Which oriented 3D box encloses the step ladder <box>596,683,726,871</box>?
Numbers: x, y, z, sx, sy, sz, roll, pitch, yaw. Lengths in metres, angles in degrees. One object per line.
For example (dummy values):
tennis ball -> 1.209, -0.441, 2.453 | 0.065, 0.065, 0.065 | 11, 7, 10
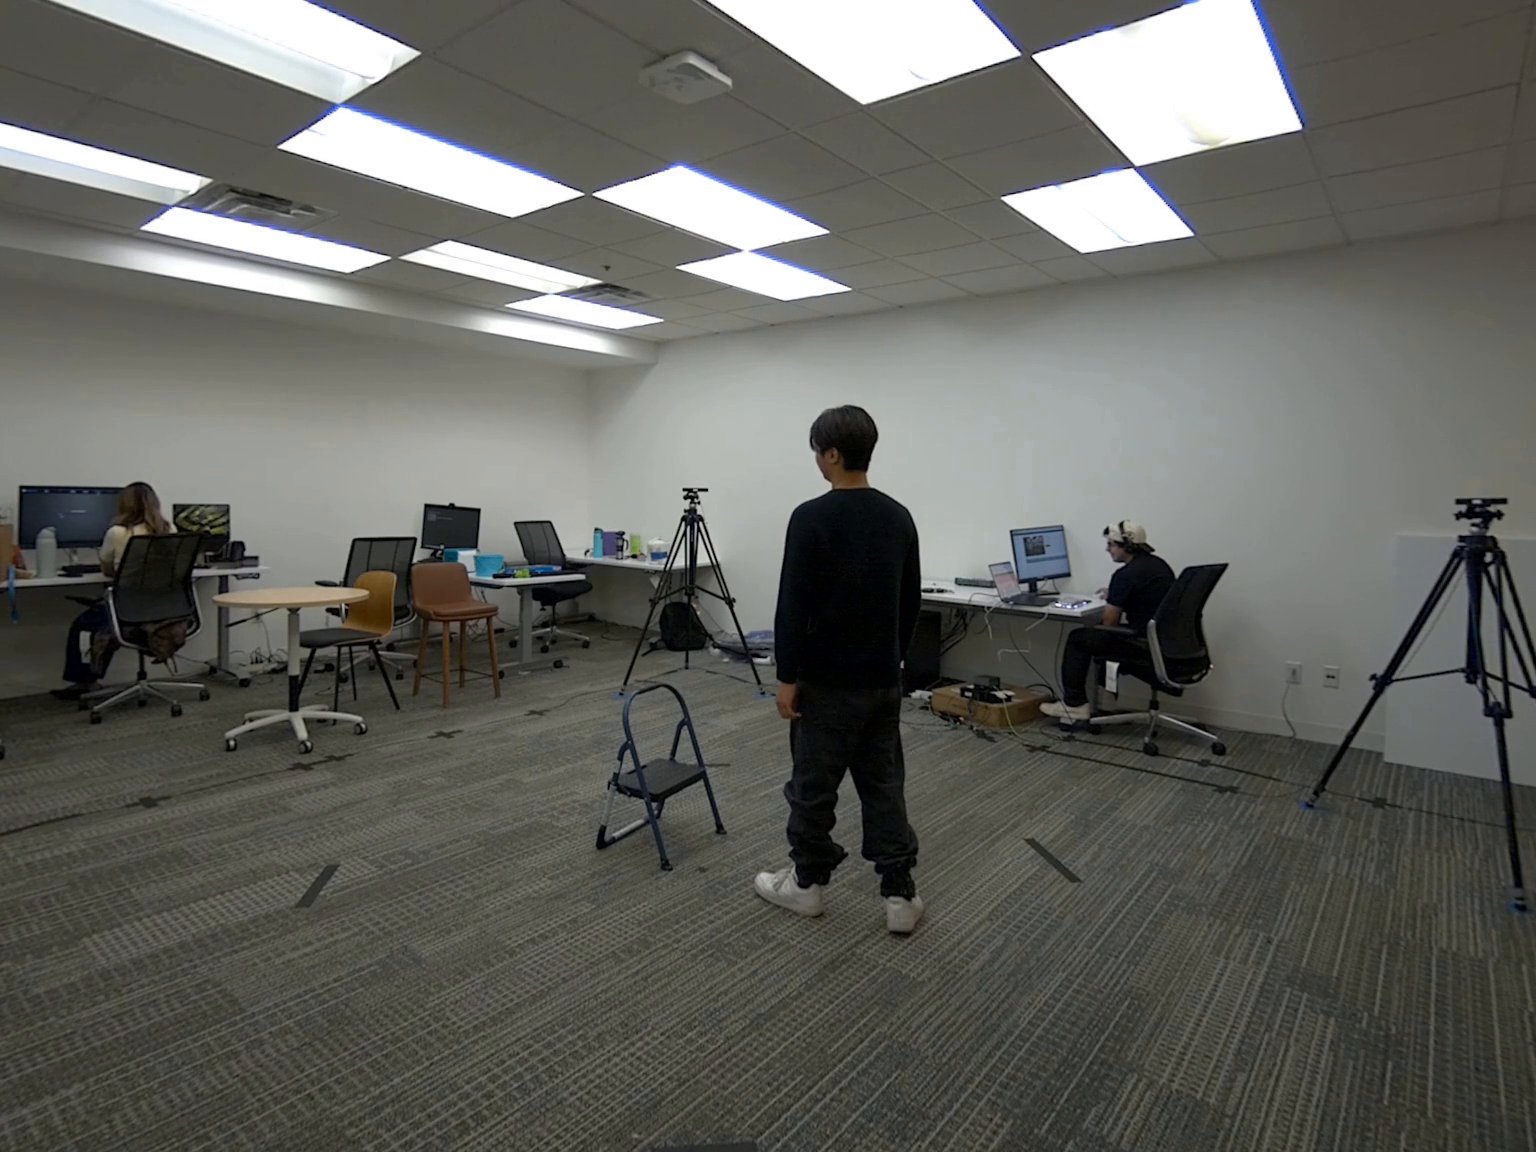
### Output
step ladder -> -0.424, 0.740, 3.347 | 0.359, 0.604, 0.420 | 3, 4, 29
